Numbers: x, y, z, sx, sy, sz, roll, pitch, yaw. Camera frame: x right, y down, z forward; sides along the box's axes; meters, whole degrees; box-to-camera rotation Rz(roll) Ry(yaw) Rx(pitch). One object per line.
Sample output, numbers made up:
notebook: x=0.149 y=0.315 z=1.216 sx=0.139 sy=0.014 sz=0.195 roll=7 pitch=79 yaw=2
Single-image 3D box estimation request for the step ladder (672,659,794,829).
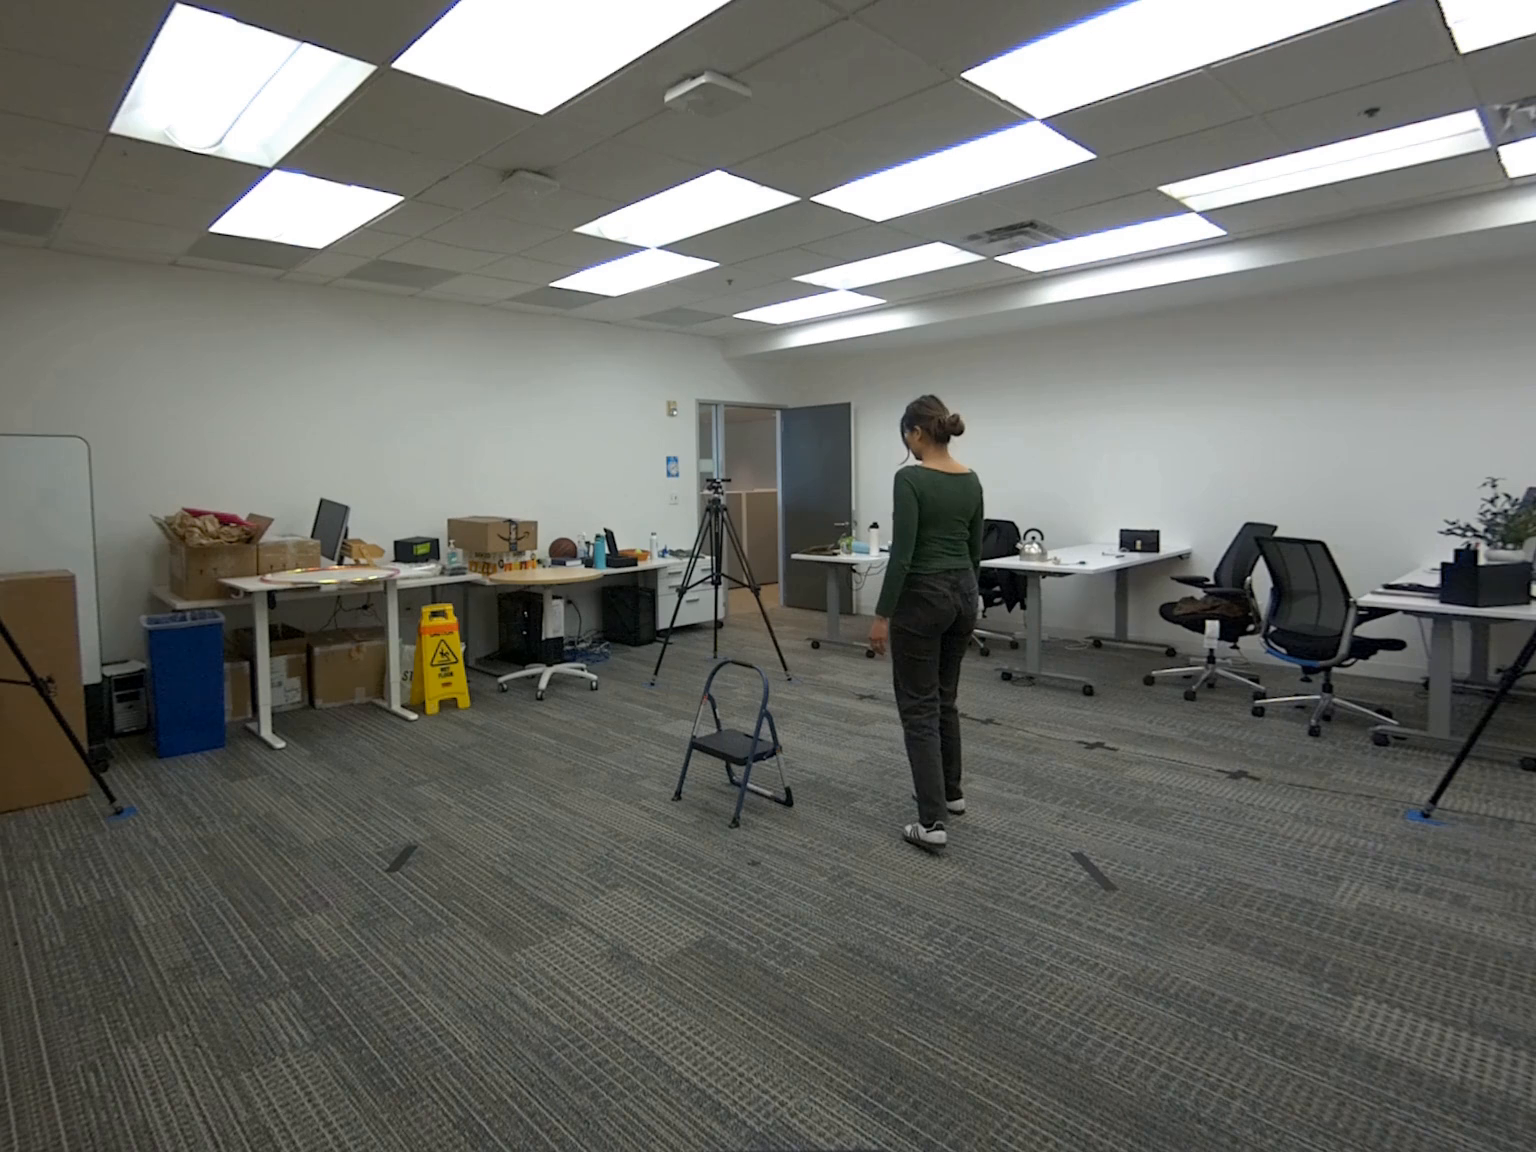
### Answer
step ladder: x=-0.159 y=0.685 z=3.668 sx=0.340 sy=0.604 sz=0.443 roll=-5 pitch=5 yaw=-42
